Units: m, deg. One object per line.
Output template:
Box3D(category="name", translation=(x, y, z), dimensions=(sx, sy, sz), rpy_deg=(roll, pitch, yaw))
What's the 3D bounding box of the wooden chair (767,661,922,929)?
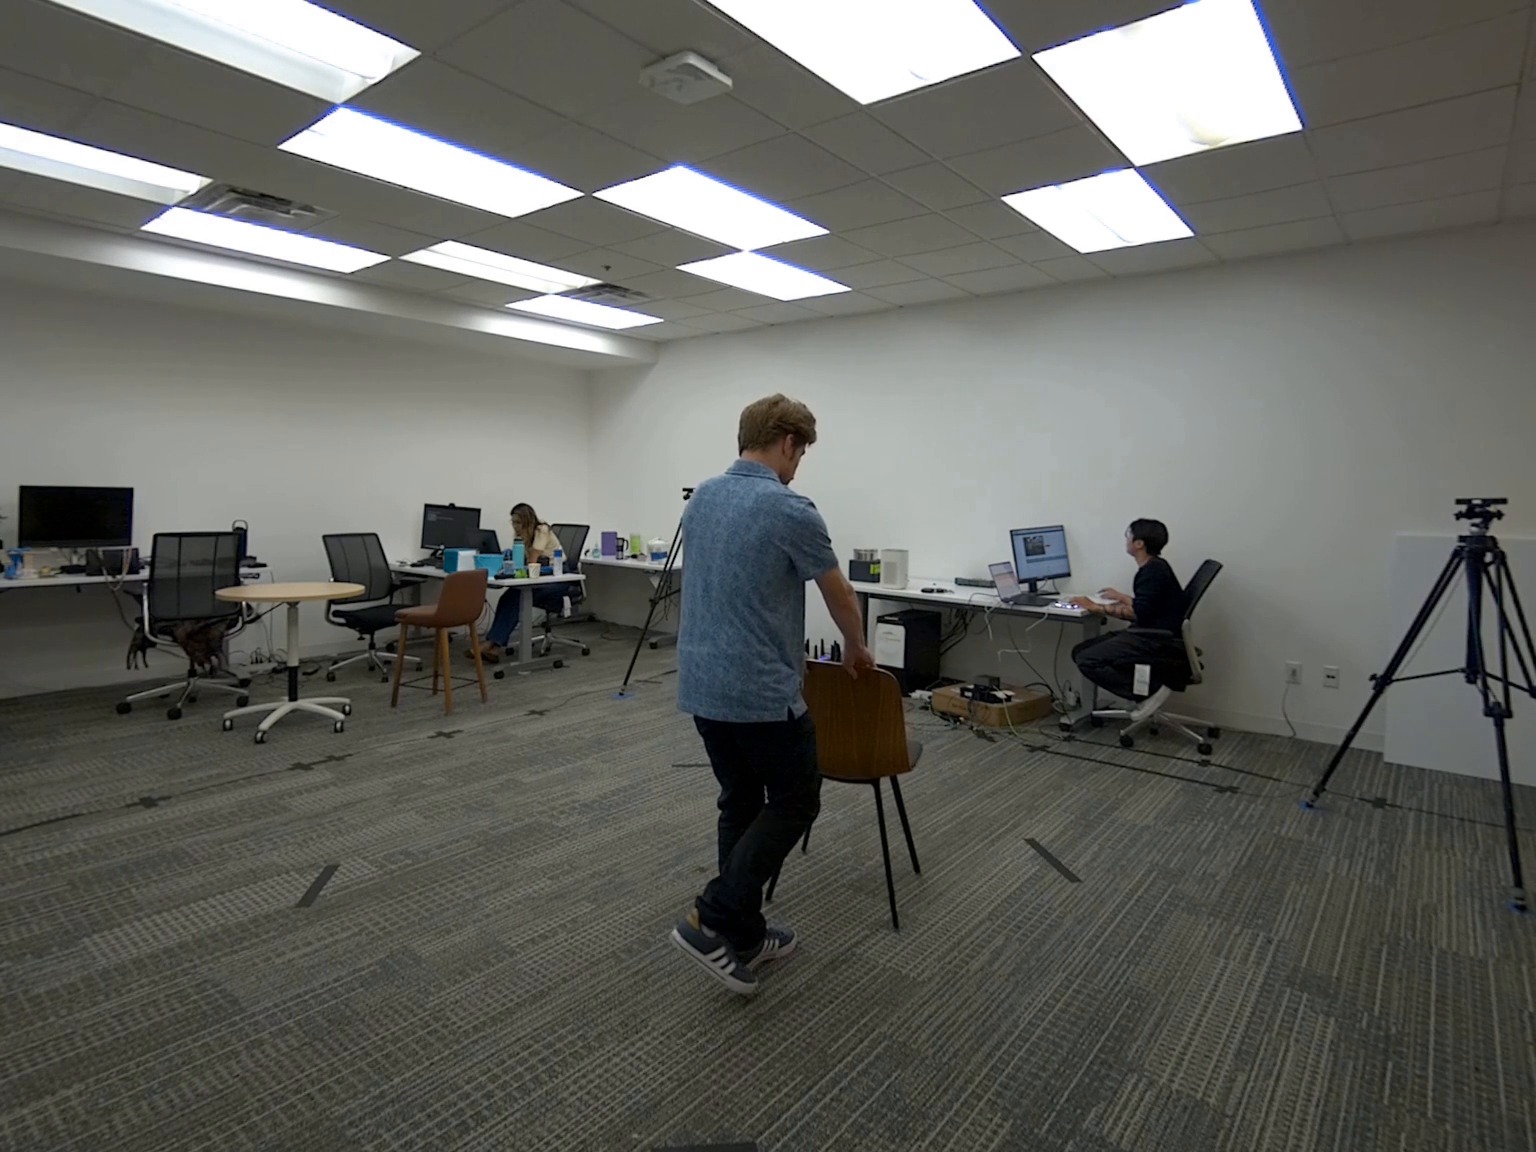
Box3D(category="wooden chair", translation=(0.273, 0.663, 2.978), dimensions=(0.489, 0.872, 0.515), rpy_deg=(2, 7, 20))
